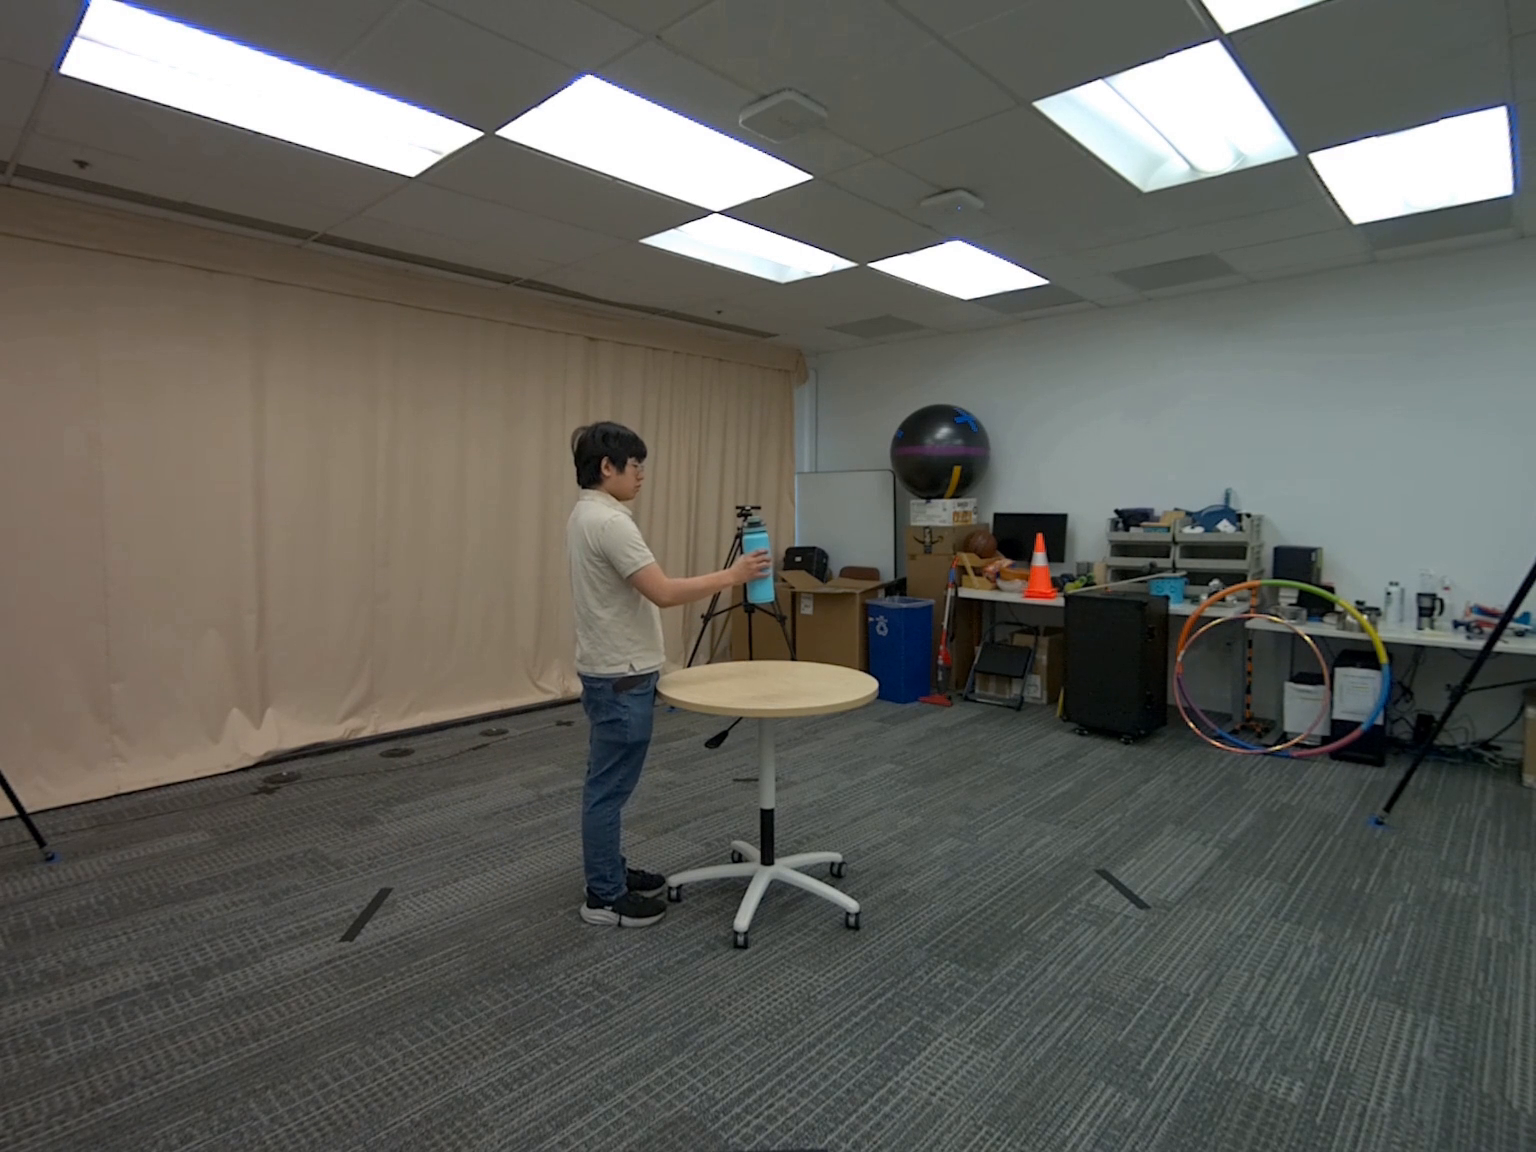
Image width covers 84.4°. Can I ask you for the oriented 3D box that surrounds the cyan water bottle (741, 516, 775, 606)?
[{"bbox_3d":[-0.030,-0.058,2.807,0.092,0.283,0.092,-5,0,-2],"label":"cyan water bottle"}]
